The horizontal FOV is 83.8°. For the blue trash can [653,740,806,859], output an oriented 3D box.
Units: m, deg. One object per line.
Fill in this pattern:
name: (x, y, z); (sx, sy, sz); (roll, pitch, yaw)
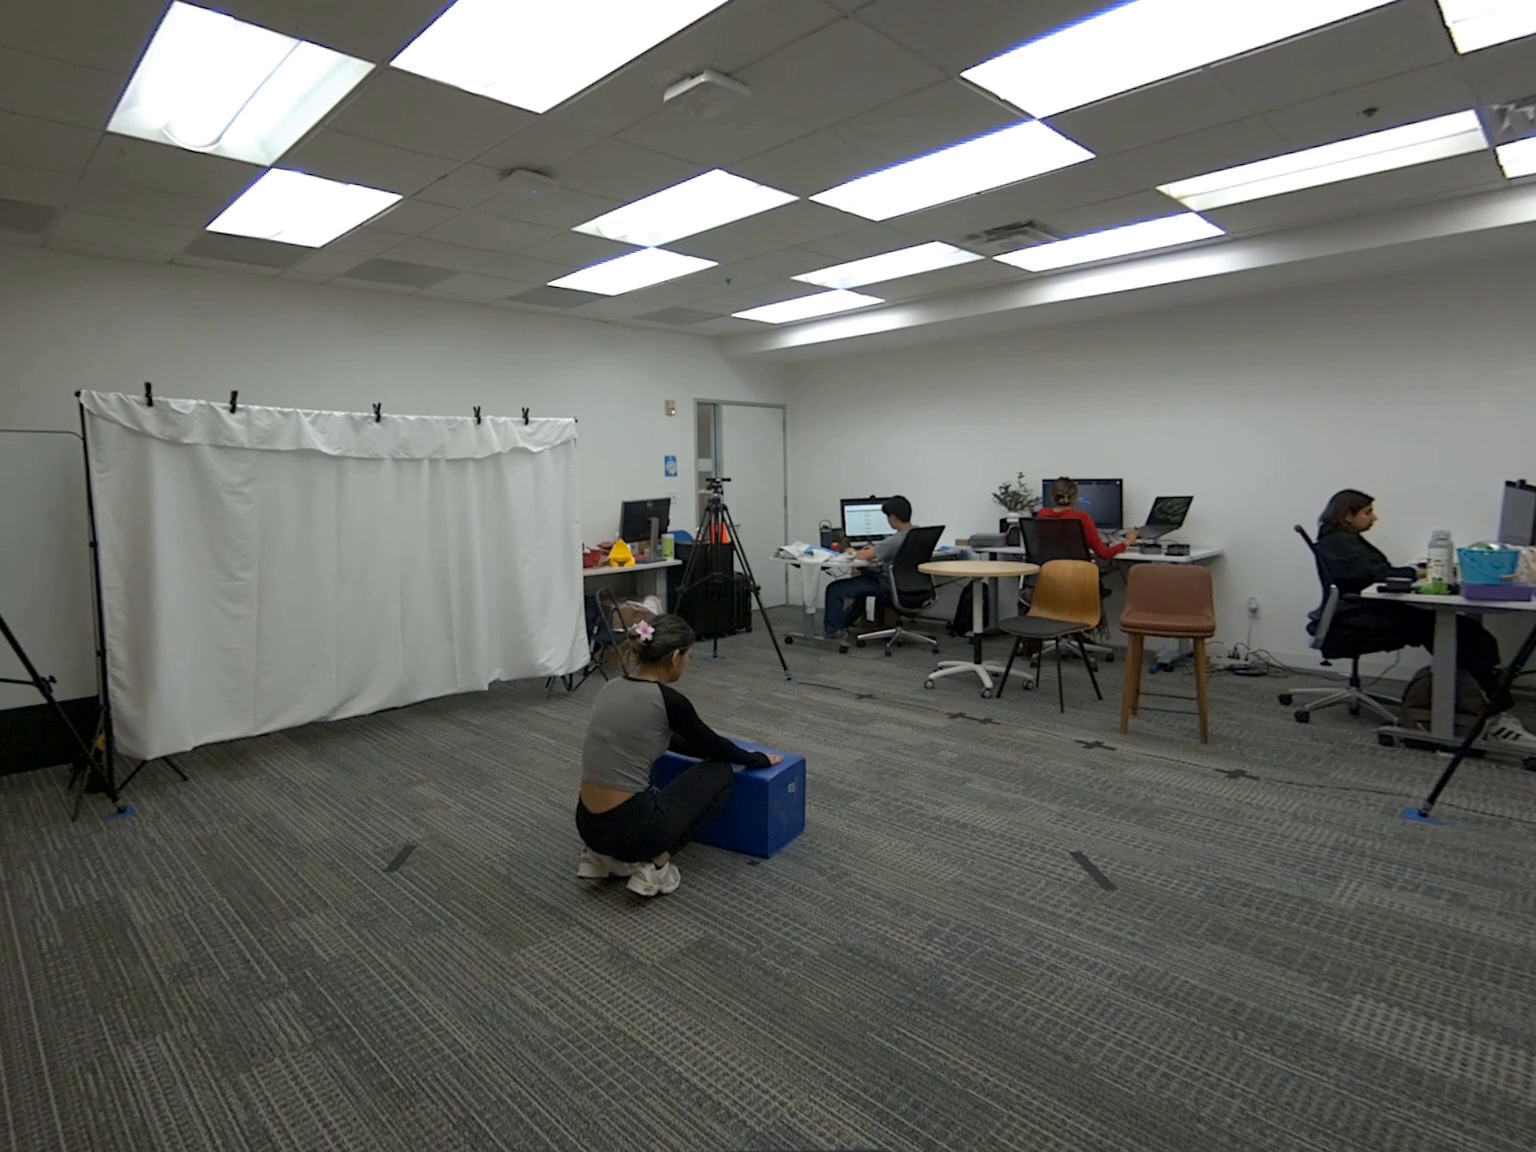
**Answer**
blue trash can: (-0.235, 0.841, 3.424); (0.734, 0.376, 0.365); (5, 6, 31)
